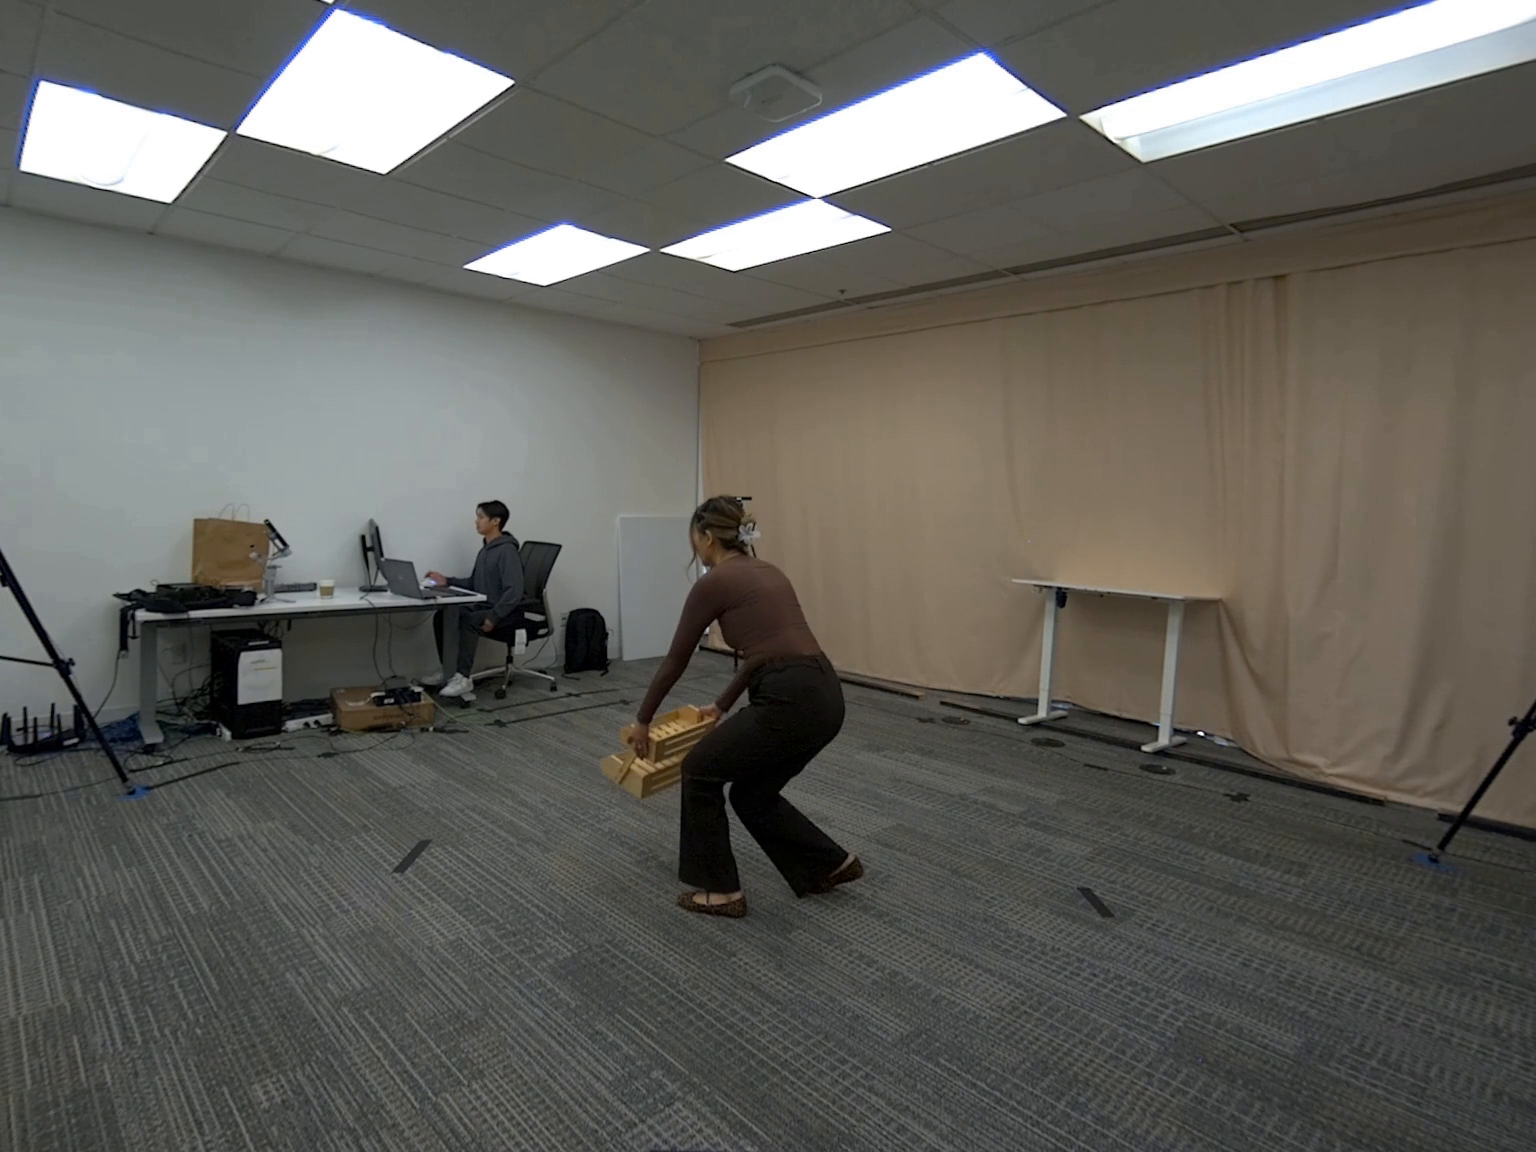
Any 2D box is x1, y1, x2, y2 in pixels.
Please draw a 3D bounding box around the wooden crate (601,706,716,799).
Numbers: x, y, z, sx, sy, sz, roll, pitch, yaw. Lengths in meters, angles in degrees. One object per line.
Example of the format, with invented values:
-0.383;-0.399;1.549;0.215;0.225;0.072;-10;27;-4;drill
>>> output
-0.429;0.640;3.206;0.311;0.271;0.318;20;20;39;wooden crate
